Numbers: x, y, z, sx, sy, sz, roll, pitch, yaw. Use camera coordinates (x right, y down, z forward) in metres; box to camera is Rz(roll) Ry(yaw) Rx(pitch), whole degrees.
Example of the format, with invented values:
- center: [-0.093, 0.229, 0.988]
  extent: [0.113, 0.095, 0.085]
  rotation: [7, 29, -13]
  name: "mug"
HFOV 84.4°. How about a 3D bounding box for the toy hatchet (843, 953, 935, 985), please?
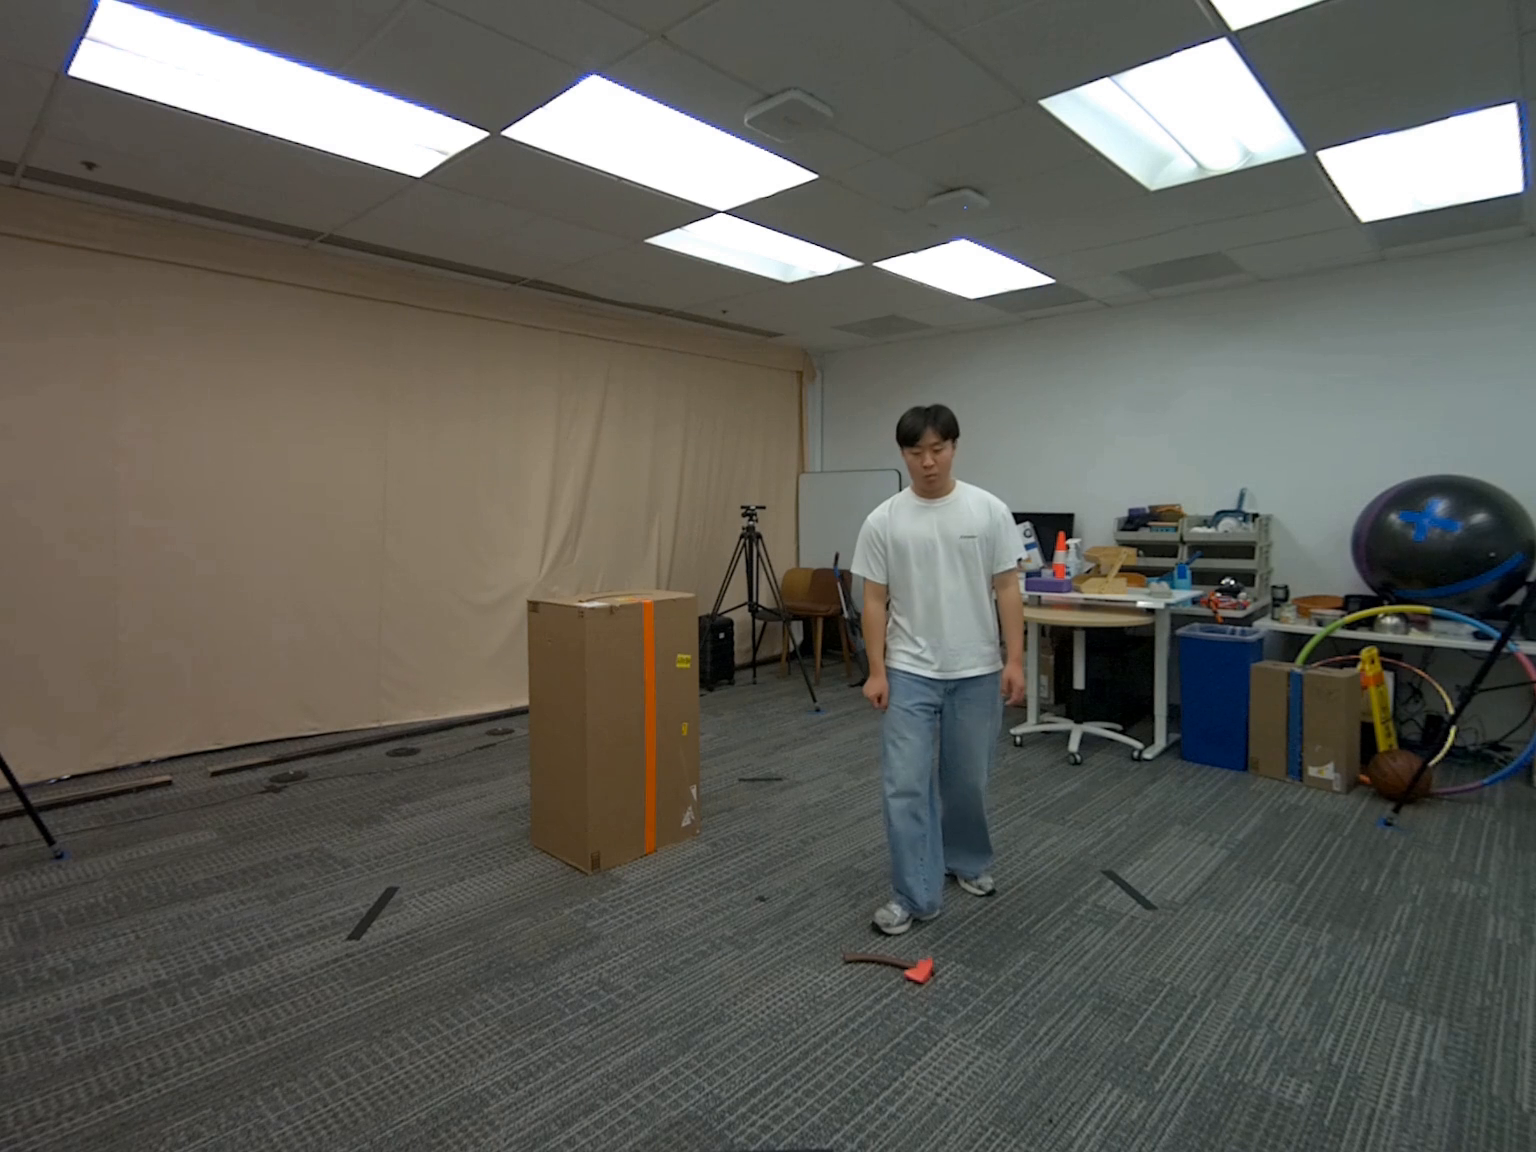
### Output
- center: [0.365, 1.171, 2.510]
  extent: [0.272, 0.029, 0.130]
  rotation: [-1, 4, 7]
  name: "toy hatchet"
